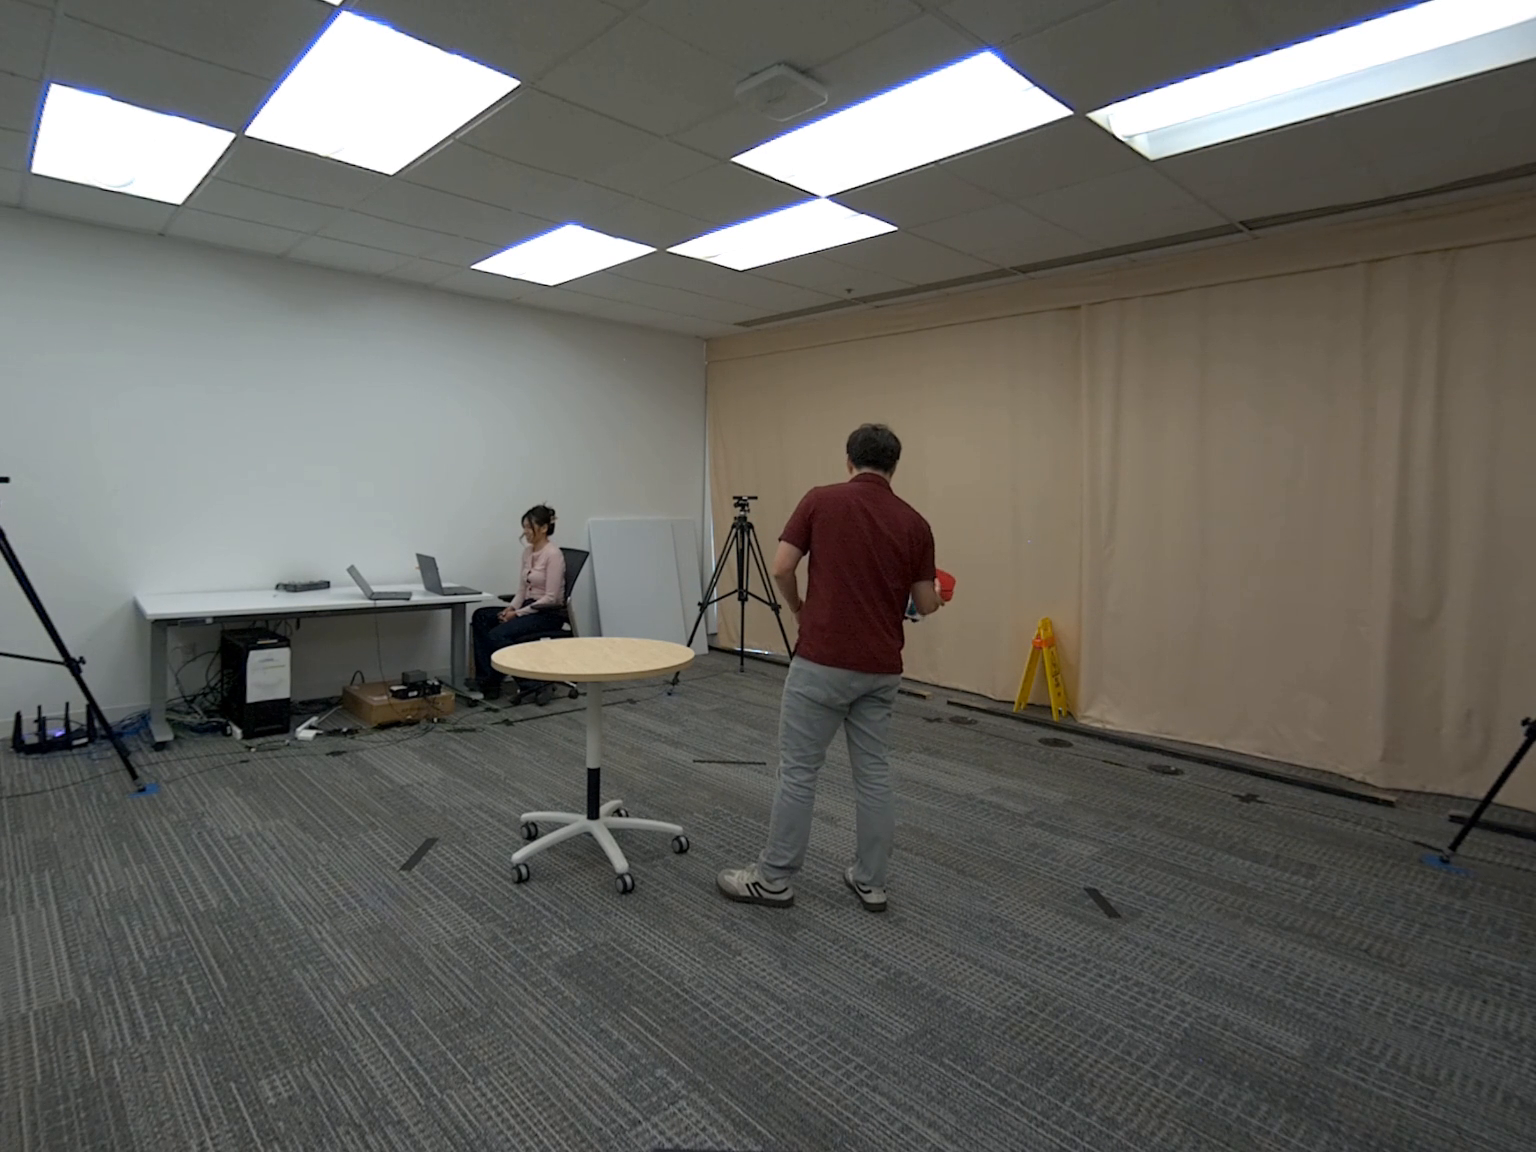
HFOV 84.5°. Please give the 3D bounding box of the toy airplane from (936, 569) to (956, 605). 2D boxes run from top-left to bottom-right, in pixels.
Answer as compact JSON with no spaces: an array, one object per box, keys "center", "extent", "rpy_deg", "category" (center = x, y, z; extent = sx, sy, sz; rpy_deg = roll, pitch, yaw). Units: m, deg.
[{"center":[0.600,0.052,3.313],"extent":[0.250,0.153,0.266],"rpy_deg":[-3,43,-5],"category":"toy airplane"}]
